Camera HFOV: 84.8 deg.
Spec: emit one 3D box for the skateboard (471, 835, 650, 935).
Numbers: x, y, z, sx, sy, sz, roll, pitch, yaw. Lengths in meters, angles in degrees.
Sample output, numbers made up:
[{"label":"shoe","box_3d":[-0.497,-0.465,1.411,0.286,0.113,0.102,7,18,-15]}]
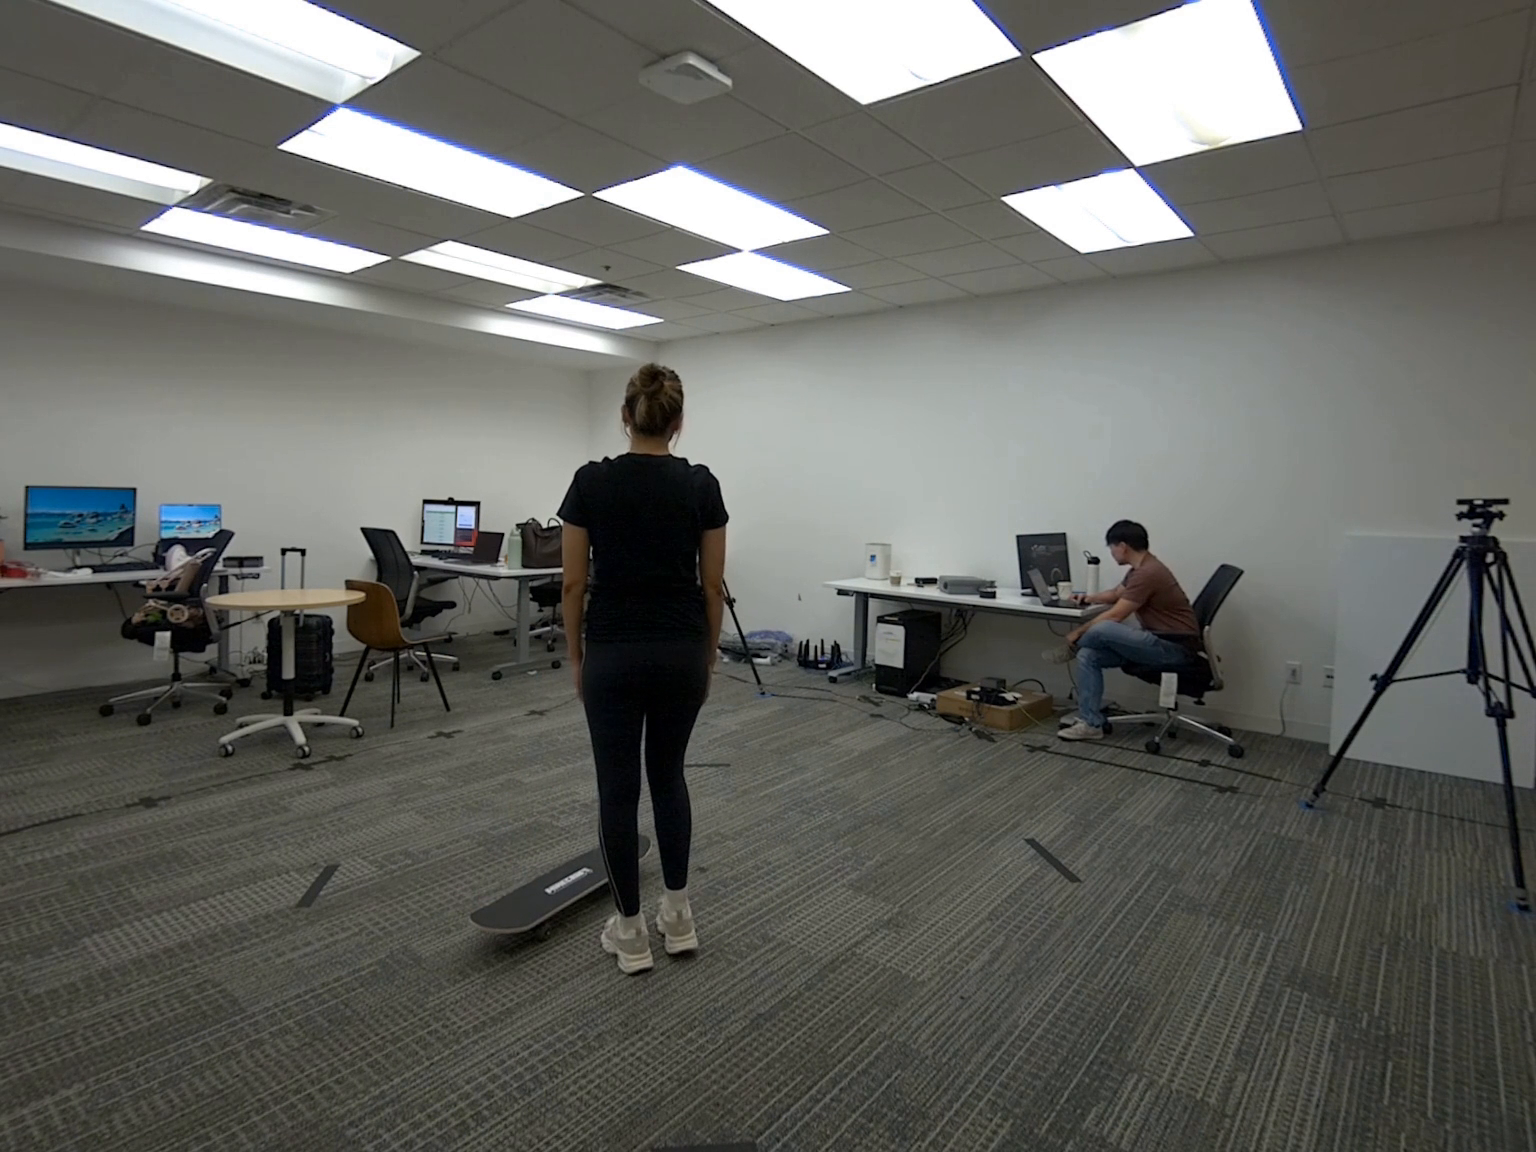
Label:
[{"label":"skateboard","box_3d":[-0.667,1.034,2.812,0.199,0.110,0.766,5,7,29]}]
